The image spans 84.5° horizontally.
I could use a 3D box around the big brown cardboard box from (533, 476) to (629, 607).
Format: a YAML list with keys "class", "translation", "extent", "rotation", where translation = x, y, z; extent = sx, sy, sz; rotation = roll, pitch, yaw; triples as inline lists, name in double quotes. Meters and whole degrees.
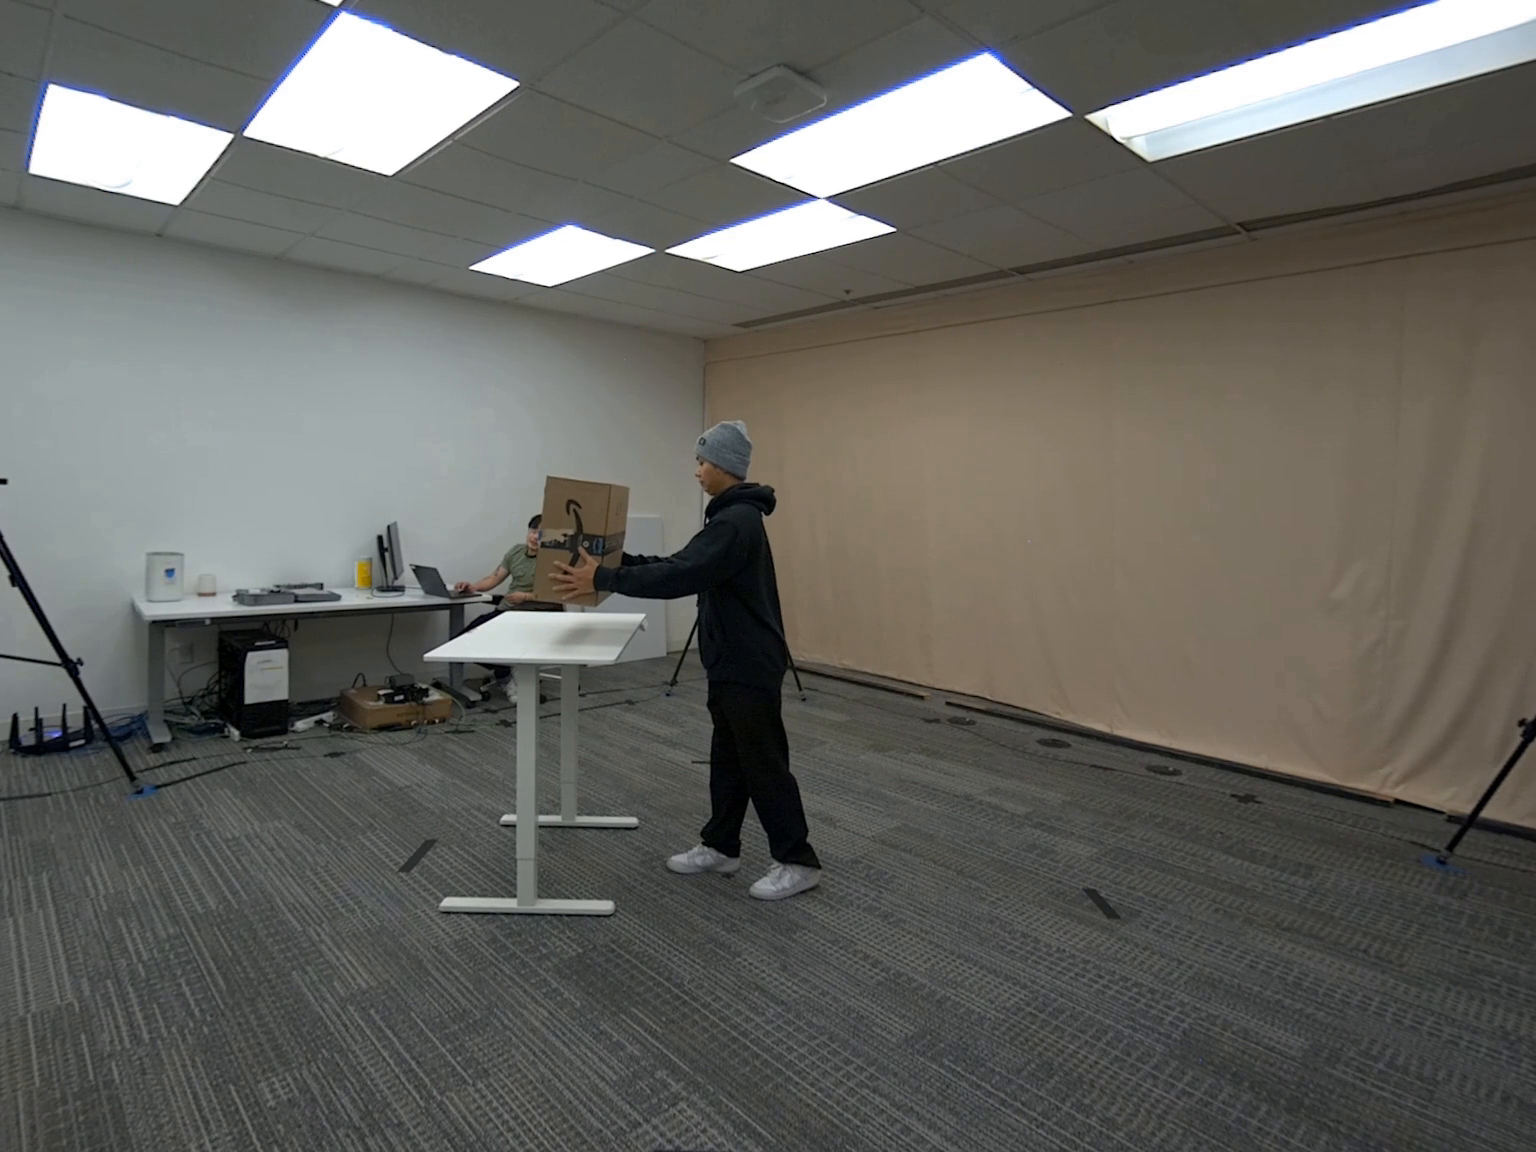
- class: "big brown cardboard box"
  translation: [-0.670, -0.136, 3.056]
  extent: [0.232, 0.417, 0.591]
  rotation: [6, 3, -4]
